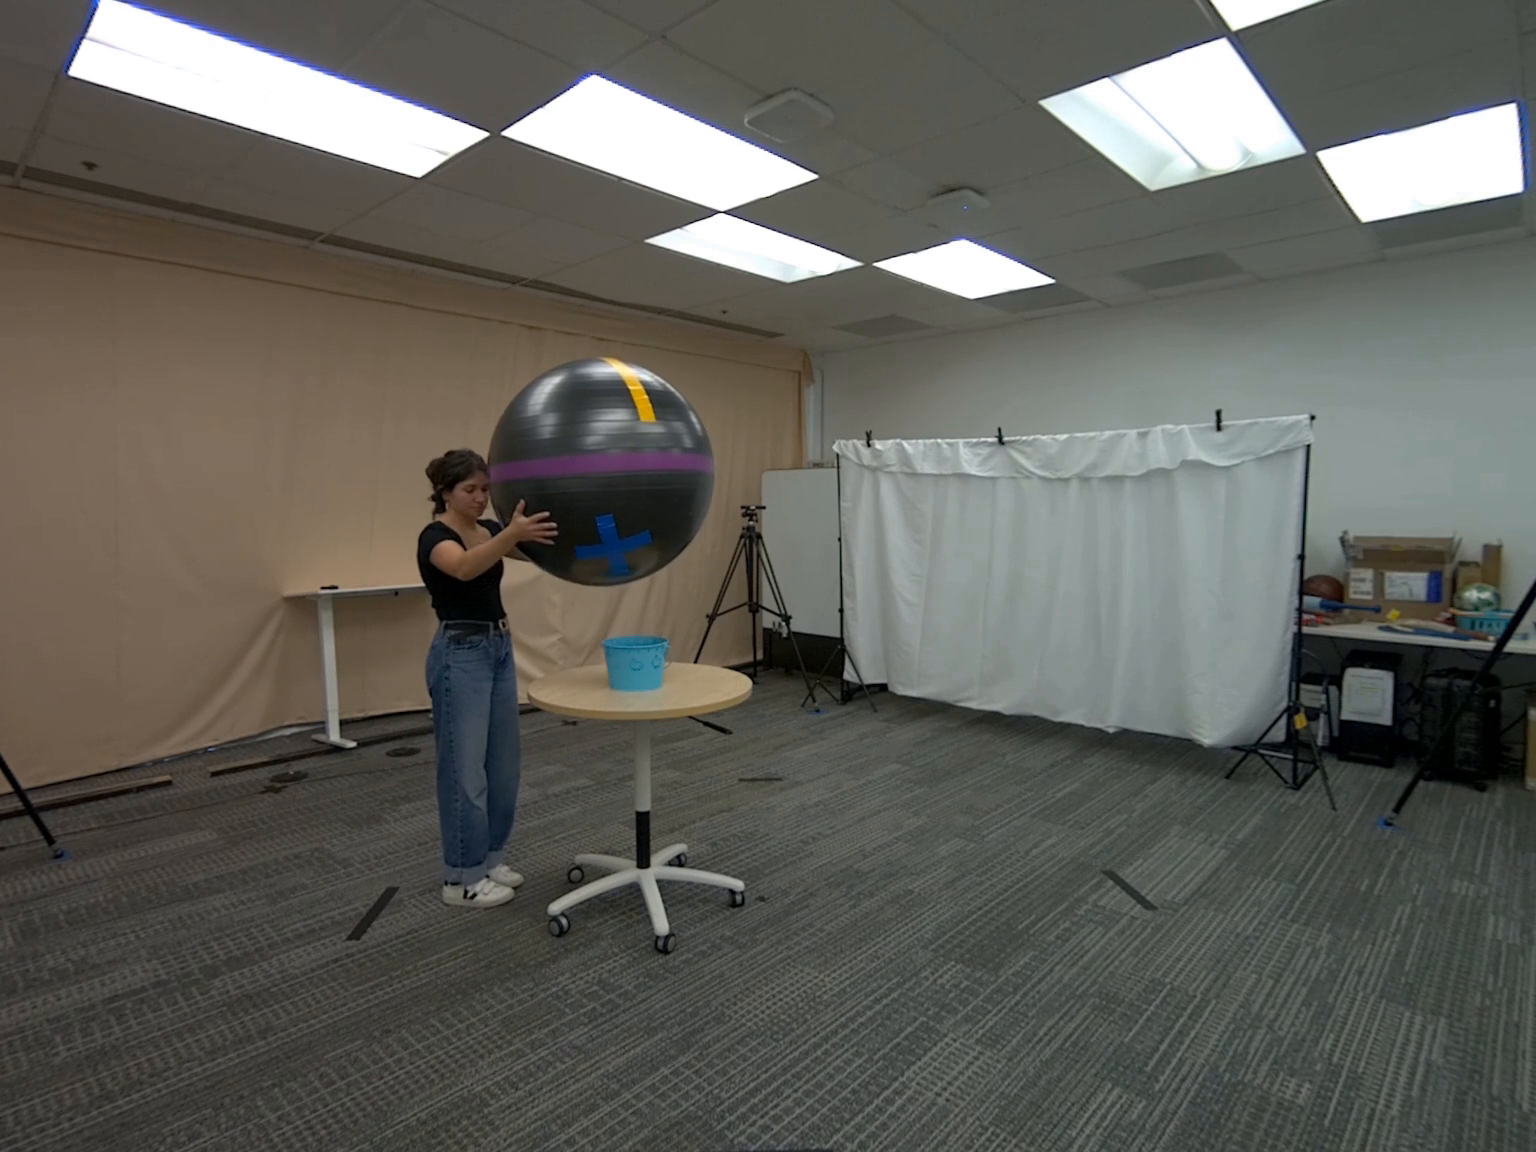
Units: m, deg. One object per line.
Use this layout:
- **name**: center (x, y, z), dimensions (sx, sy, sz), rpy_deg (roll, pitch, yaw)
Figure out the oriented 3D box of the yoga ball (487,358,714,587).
- **yoga ball**: center (-0.567, -0.351, 2.841), dimensions (0.757, 0.756, 0.760), rpy_deg (0, 4, -2)
